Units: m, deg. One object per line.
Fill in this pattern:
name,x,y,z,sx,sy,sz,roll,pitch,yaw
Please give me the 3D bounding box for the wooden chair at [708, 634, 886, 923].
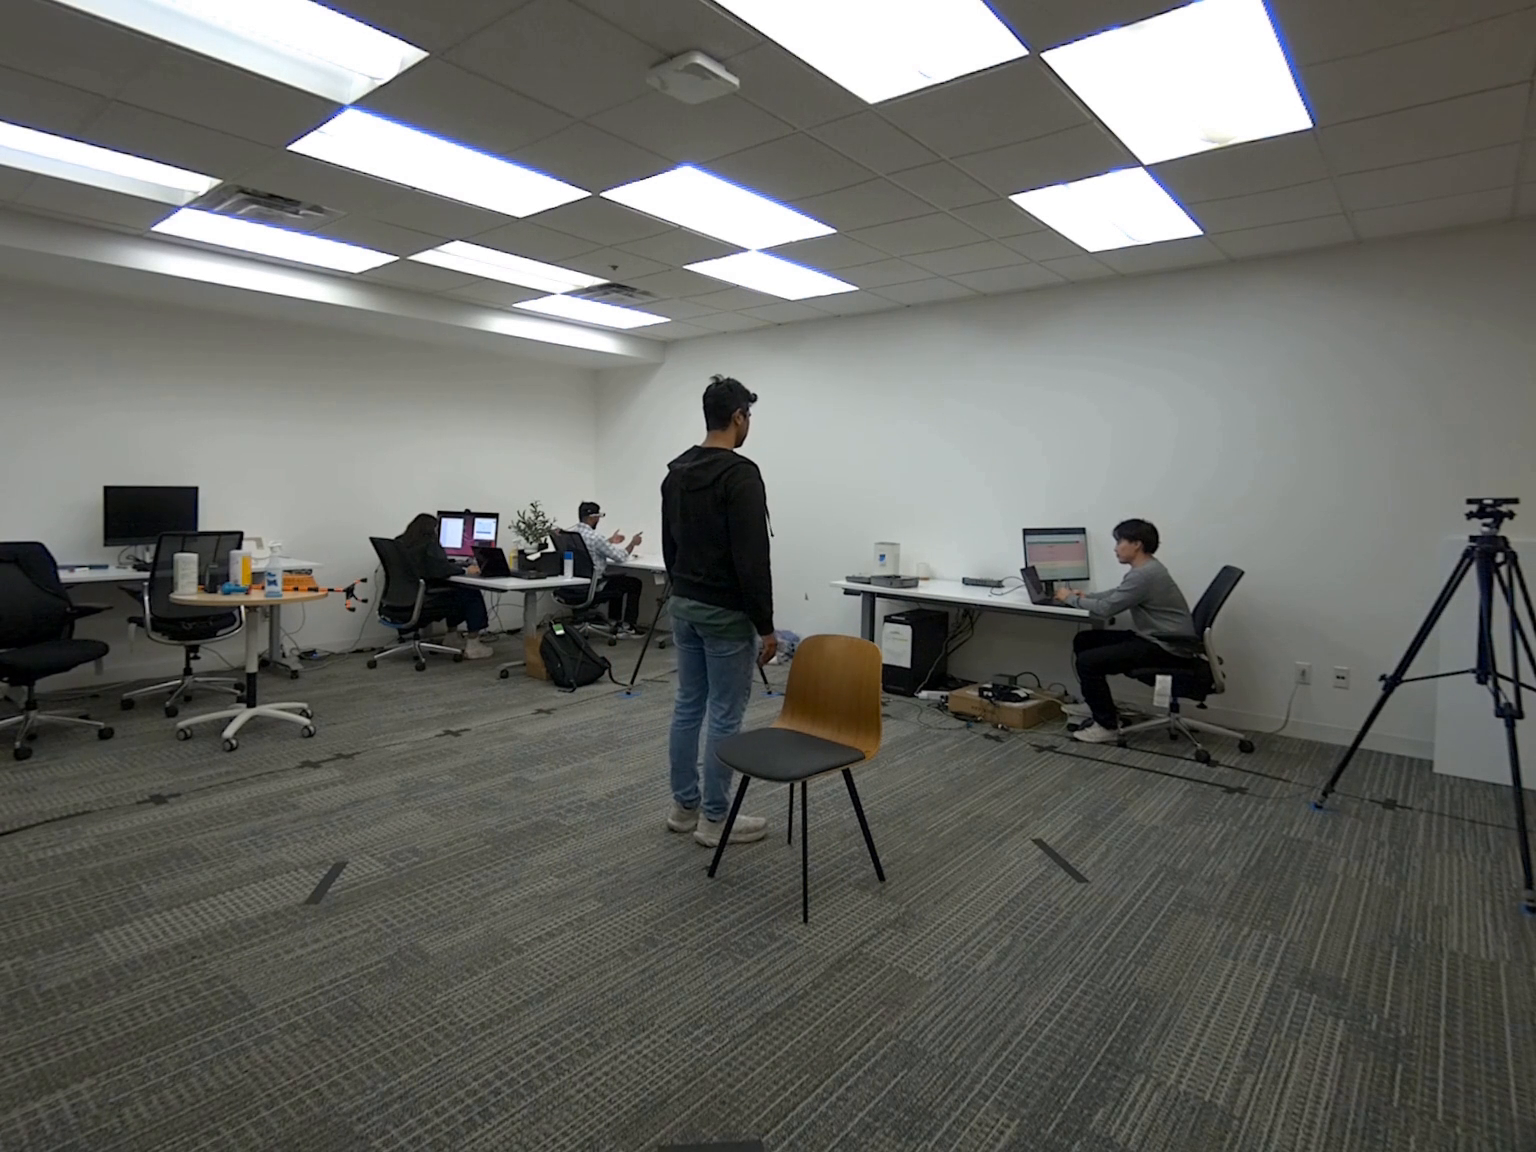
wooden chair,0.102,0.656,3.006,0.494,0.877,0.506,5,1,43
